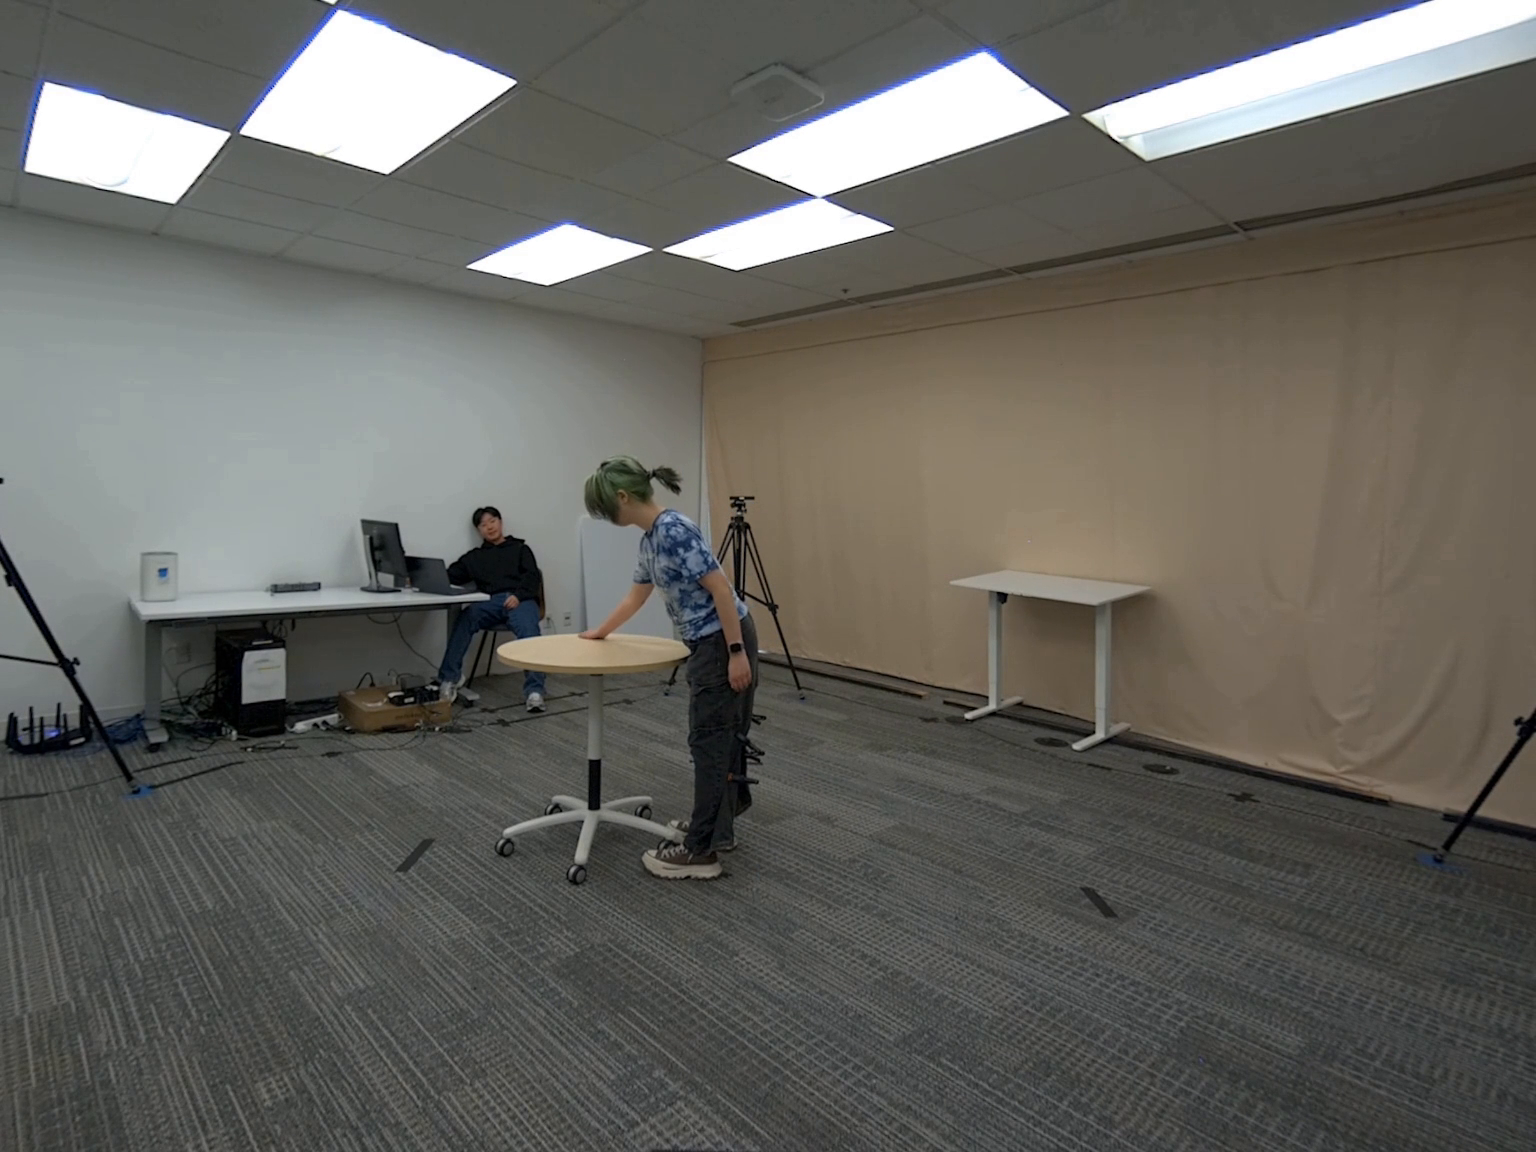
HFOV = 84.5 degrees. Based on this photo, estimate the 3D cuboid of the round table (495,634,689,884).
[{"bbox_3d":[-0.680,0.674,3.349,0.784,0.784,0.788,2,4,-1],"label":"round table"}]
